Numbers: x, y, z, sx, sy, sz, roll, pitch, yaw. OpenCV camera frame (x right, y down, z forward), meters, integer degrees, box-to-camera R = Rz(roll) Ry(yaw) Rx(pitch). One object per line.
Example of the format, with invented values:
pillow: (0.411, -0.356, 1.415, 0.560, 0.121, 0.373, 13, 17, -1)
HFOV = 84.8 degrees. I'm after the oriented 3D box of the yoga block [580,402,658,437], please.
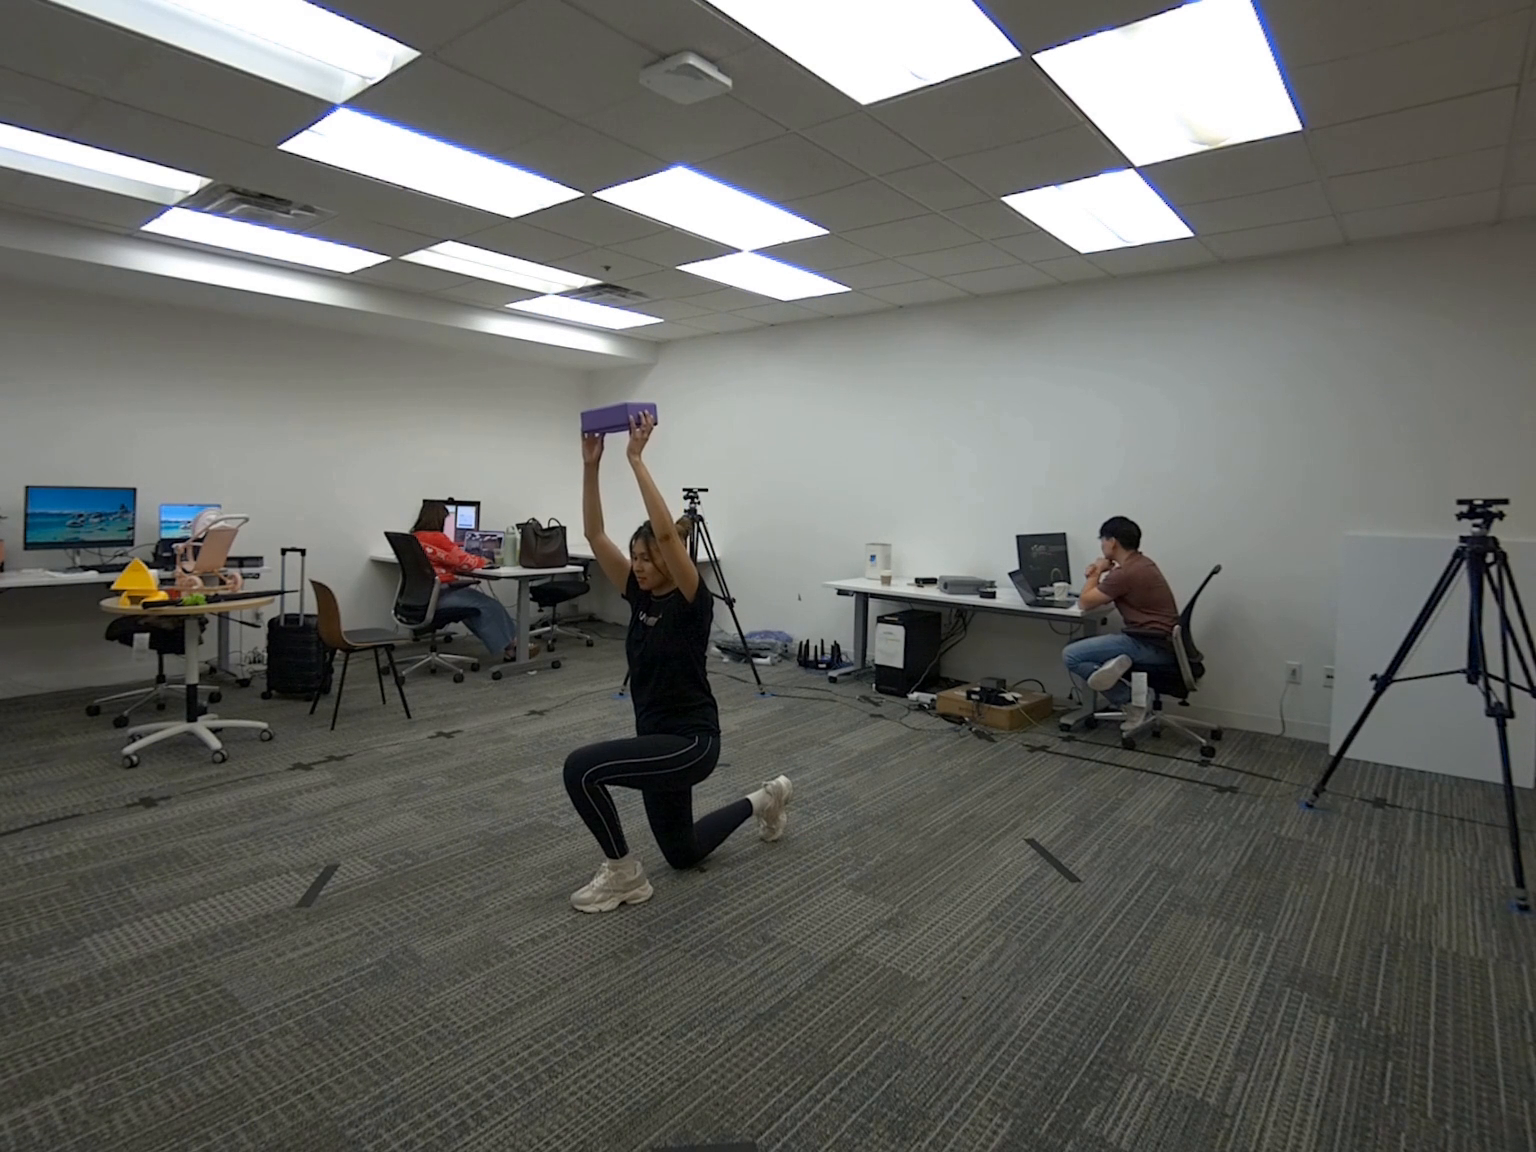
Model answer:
yoga block: (-0.514, -0.531, 2.819, 0.236, 0.076, 0.145, -1, 8, 39)
